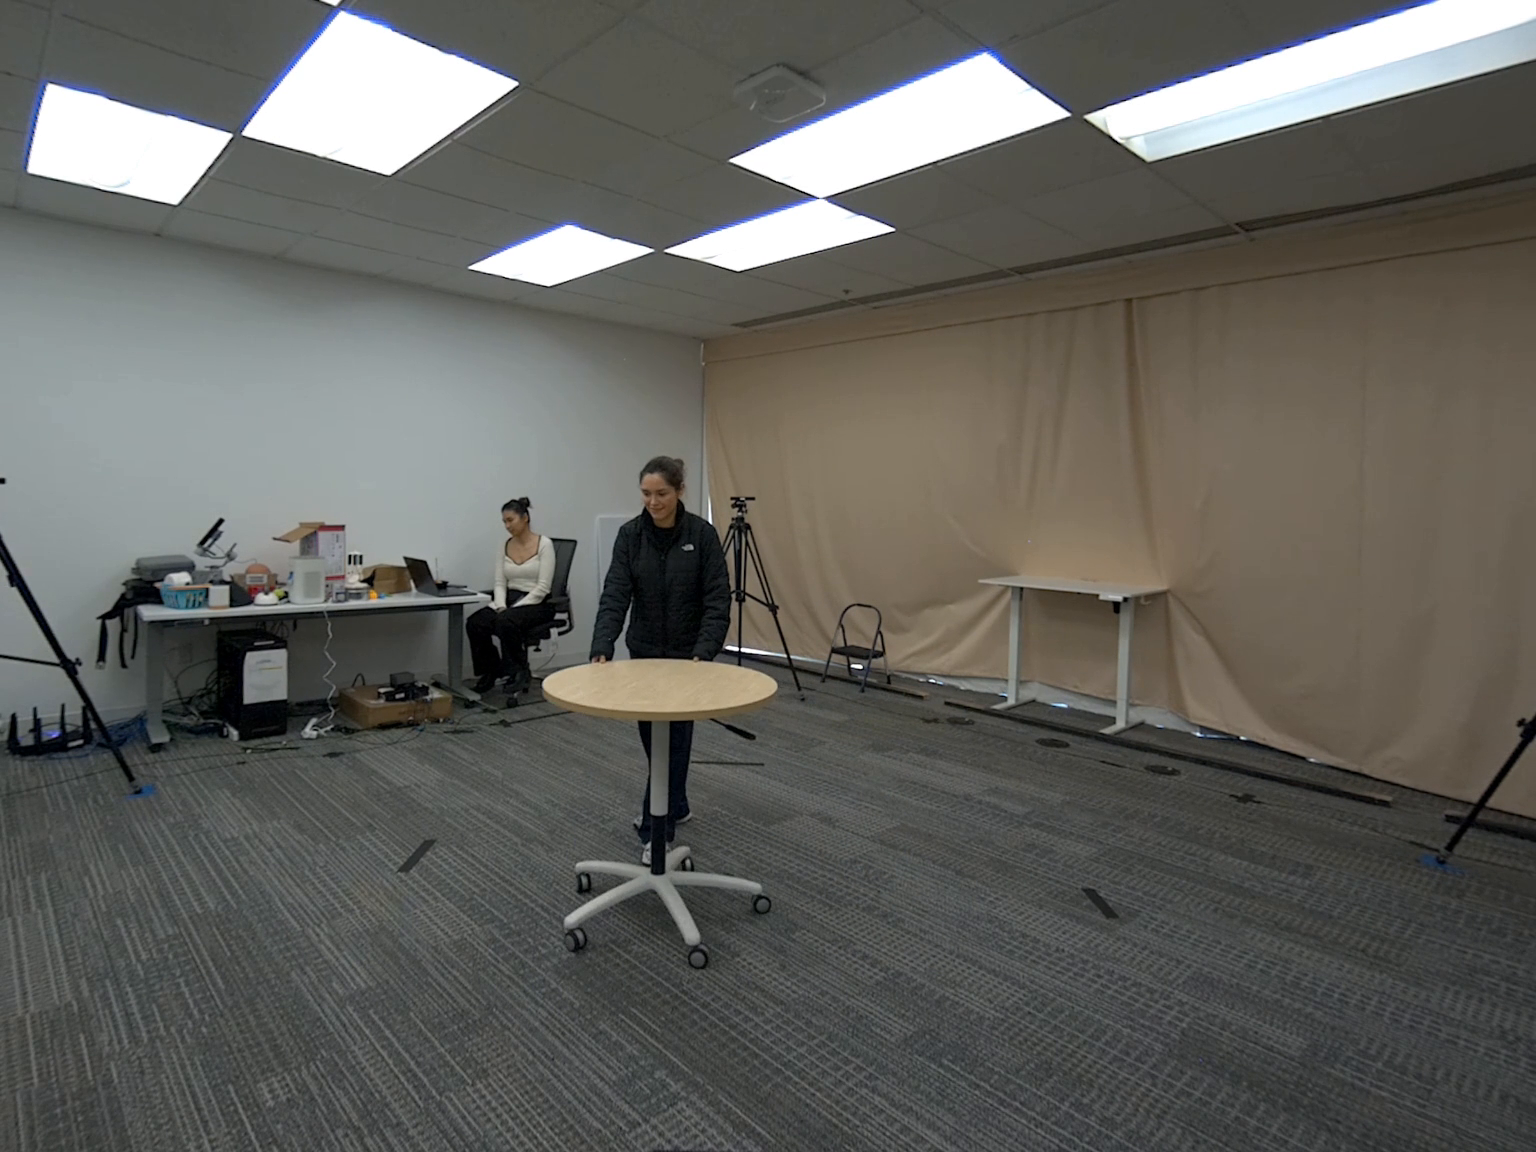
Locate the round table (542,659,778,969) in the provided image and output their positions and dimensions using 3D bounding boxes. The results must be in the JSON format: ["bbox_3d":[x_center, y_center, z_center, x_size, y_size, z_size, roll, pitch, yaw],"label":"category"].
[{"bbox_3d":[-0.354,0.740,2.781,0.784,0.784,0.788,2,4,-1],"label":"round table"}]
